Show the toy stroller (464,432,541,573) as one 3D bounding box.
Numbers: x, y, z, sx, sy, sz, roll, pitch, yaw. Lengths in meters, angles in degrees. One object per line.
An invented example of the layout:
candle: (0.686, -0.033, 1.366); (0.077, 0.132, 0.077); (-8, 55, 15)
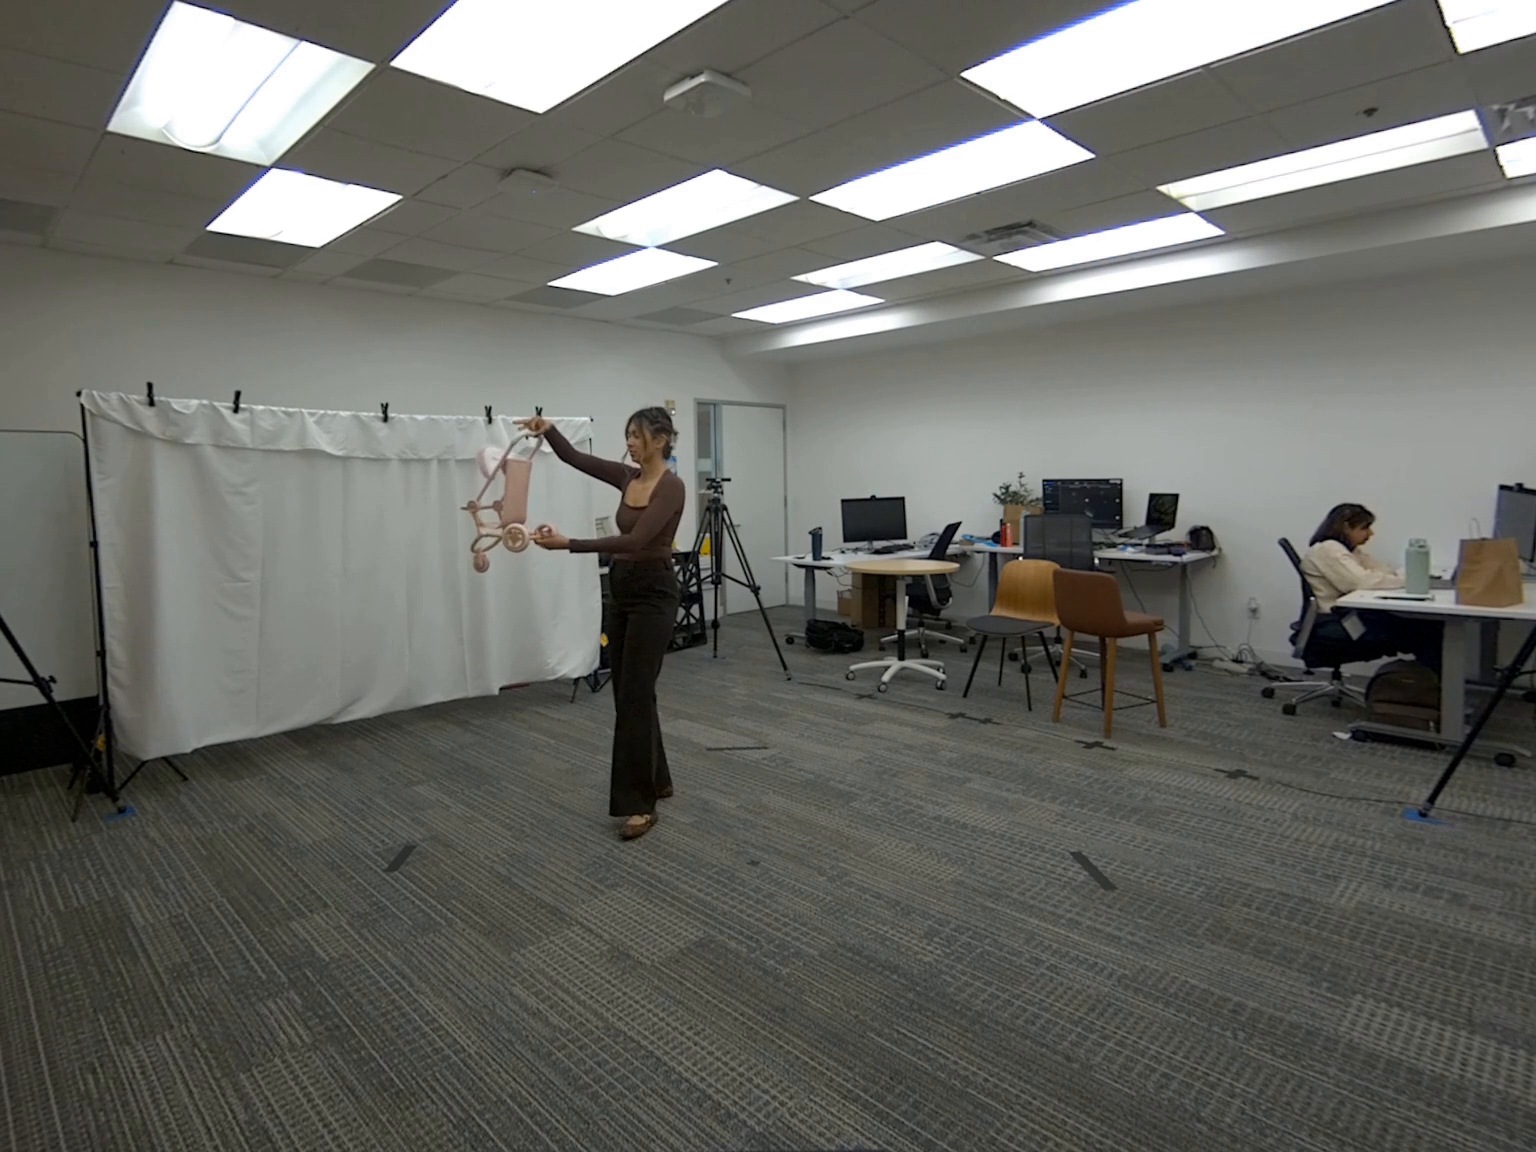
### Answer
toy stroller: (-1.048, -0.292, 3.392); (0.347, 0.534, 0.277); (-6, 1, 19)
